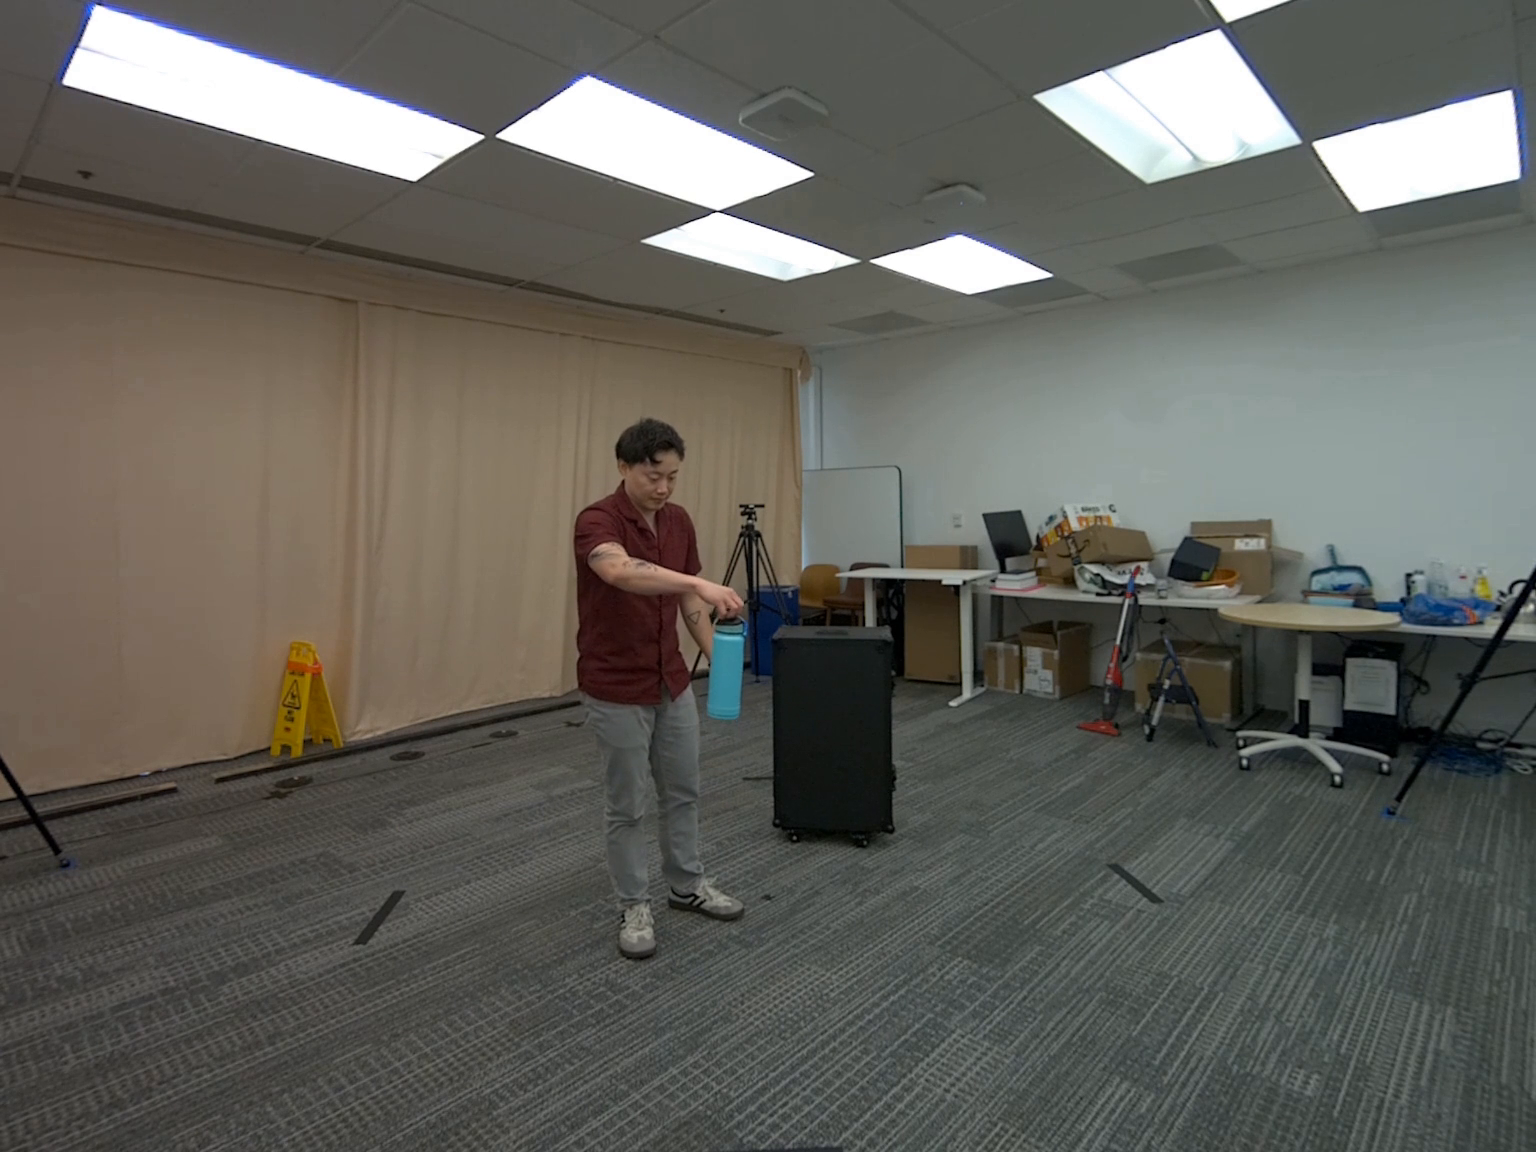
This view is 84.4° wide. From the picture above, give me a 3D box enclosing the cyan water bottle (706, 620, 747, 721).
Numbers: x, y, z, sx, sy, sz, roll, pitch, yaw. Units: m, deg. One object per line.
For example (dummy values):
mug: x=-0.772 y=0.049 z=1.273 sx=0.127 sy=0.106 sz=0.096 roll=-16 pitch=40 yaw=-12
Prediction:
cyan water bottle: x=-0.104 y=0.241 z=2.276 sx=0.092 sy=0.283 sz=0.092 roll=4 pitch=2 yaw=-2
